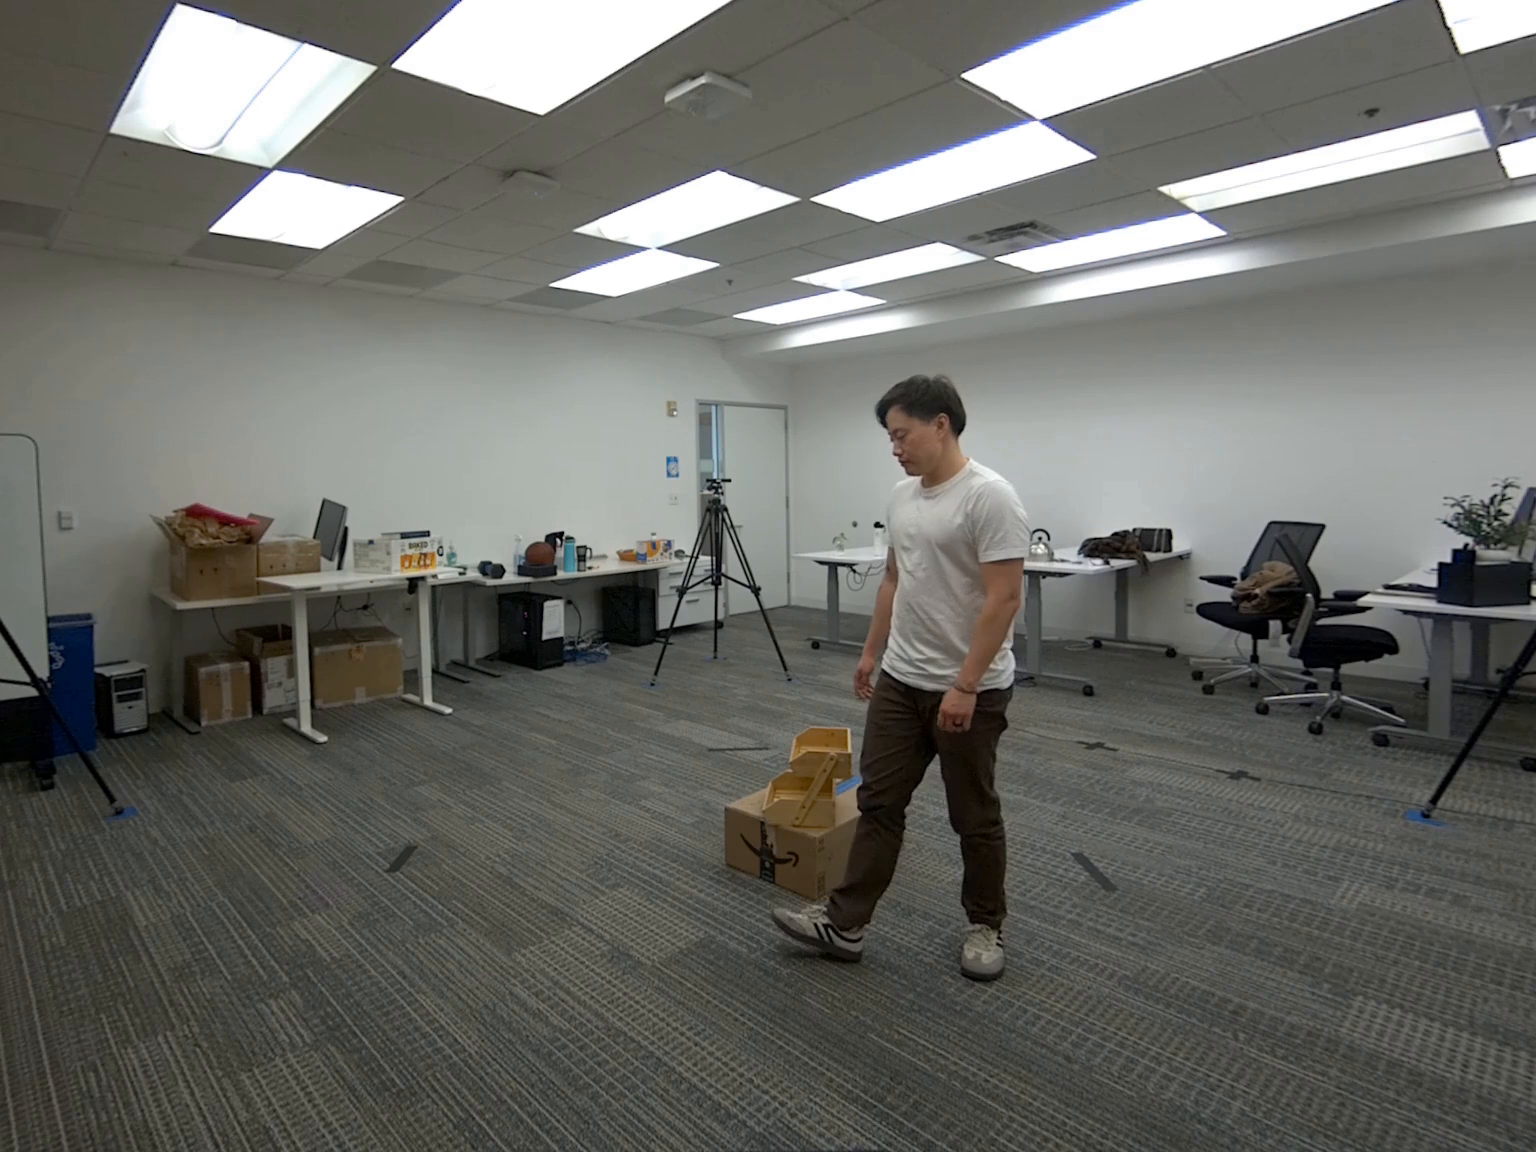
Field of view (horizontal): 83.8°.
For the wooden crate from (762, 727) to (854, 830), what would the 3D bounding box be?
[{"bbox_3d":[0.140,0.697,3.041,0.304,0.272,0.323,1,4,6],"label":"wooden crate"}]
